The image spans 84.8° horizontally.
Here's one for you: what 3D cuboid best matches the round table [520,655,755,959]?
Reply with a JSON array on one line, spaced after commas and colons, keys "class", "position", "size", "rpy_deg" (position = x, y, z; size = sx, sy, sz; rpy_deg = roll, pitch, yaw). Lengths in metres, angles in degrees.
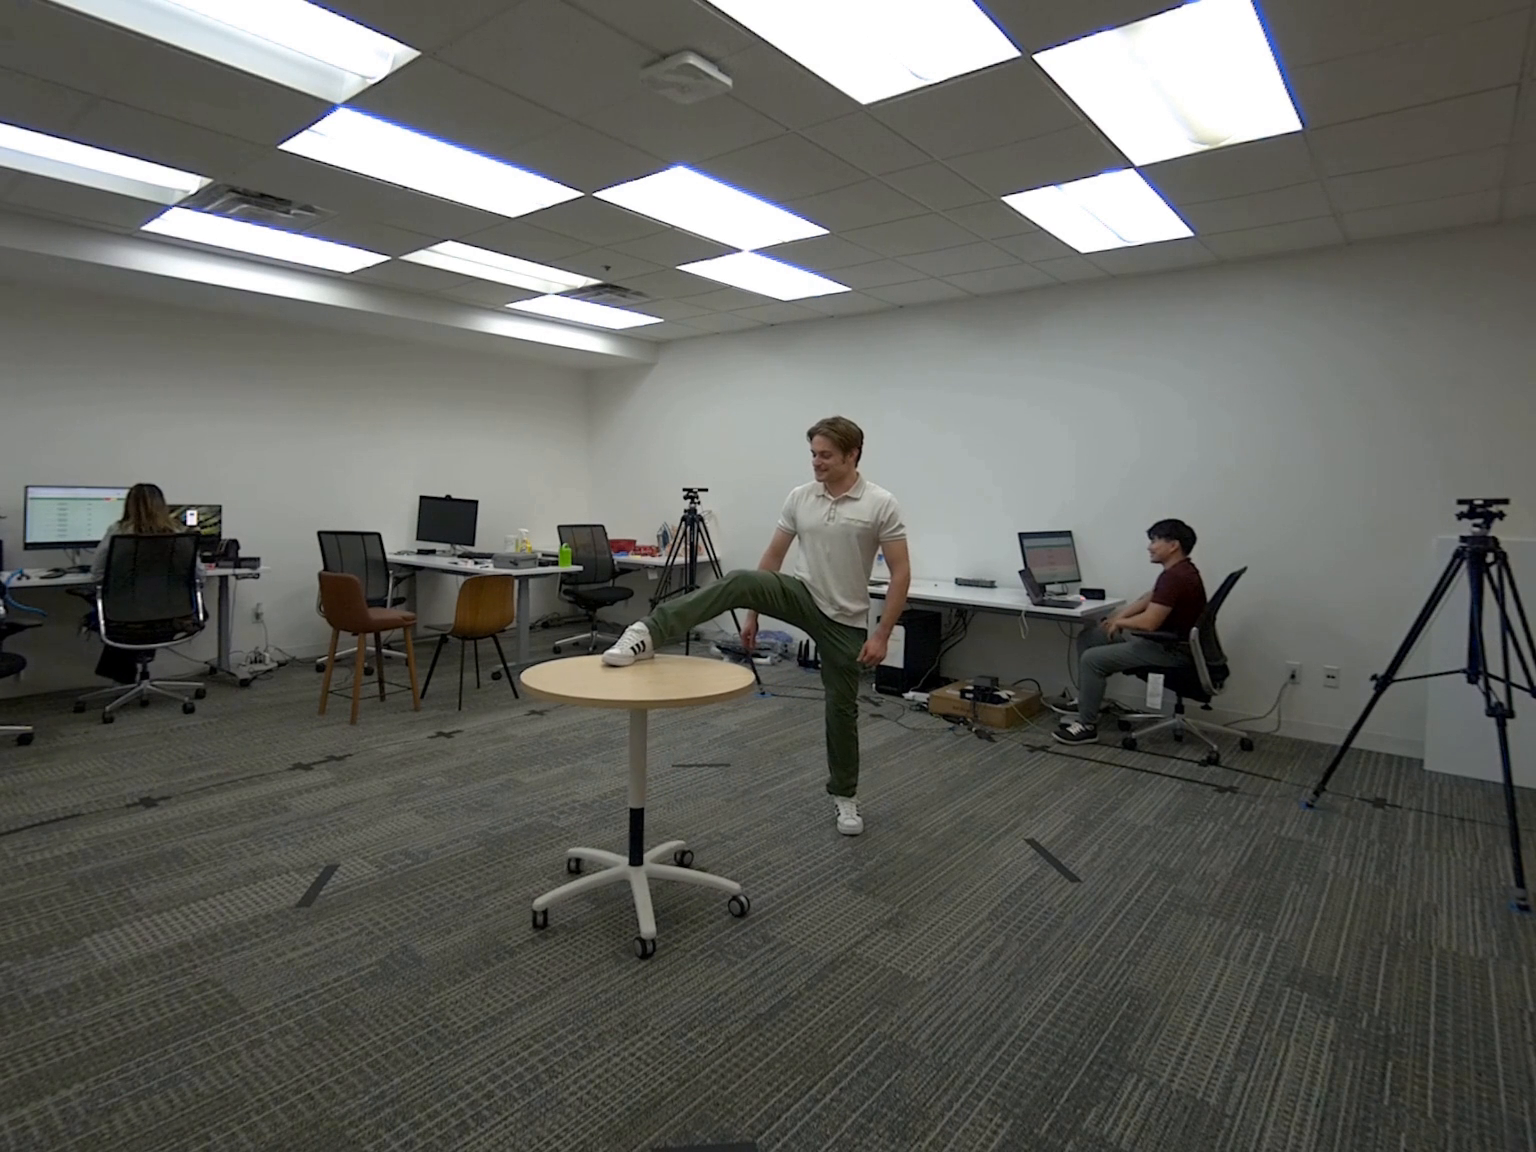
[{"class": "round table", "position": [-0.444, 0.710, 2.813], "size": [0.763, 0.792, 0.767], "rpy_deg": [1, 3, -2]}]
